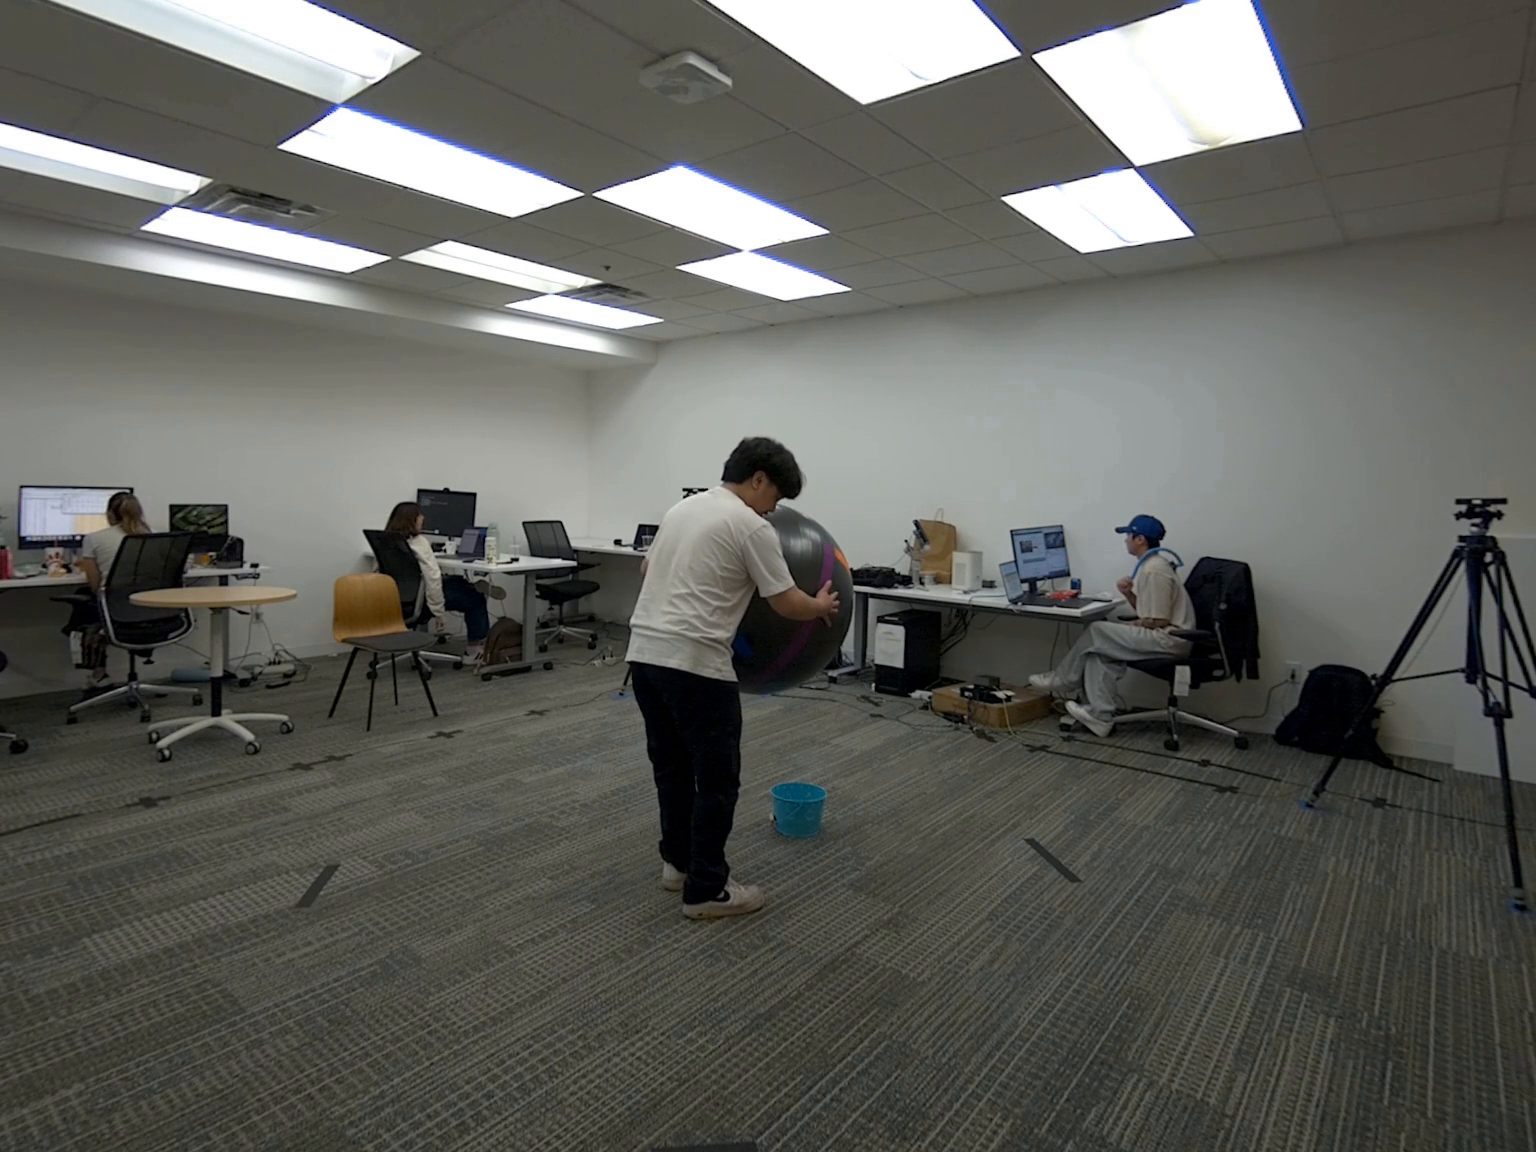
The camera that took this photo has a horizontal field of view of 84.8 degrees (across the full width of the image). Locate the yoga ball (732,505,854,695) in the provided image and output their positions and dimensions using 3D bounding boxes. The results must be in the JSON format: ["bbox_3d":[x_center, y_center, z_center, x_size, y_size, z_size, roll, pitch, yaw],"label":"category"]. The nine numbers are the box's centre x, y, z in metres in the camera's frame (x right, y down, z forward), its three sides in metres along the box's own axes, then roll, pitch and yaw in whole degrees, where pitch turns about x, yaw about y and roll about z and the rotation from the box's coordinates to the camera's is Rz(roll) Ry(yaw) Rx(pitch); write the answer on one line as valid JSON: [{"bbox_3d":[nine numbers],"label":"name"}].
[{"bbox_3d":[-0.044,0.085,3.389,0.757,0.755,0.762,1,4,-2],"label":"yoga ball"}]
